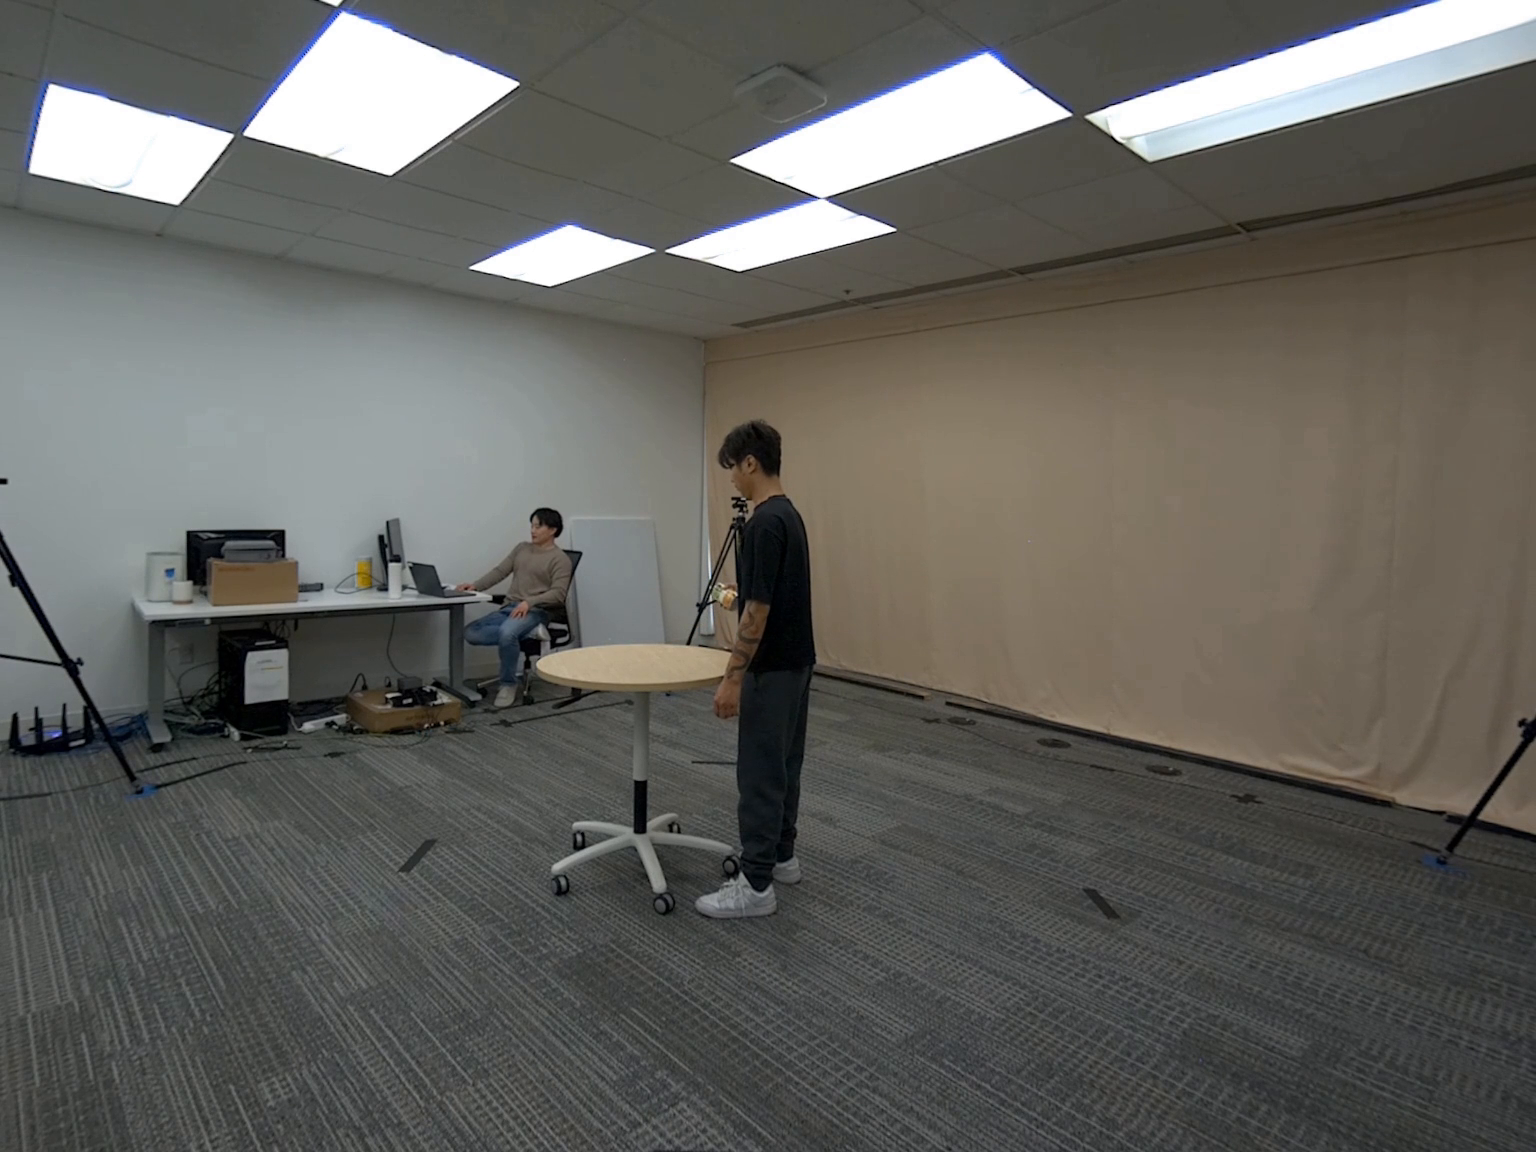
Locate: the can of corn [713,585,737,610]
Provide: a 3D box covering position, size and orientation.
[{"bbox_3d":[-0.169,0.097,3.432,0.113,0.074,0.073,19,11,23],"label":"can of corn"}]
